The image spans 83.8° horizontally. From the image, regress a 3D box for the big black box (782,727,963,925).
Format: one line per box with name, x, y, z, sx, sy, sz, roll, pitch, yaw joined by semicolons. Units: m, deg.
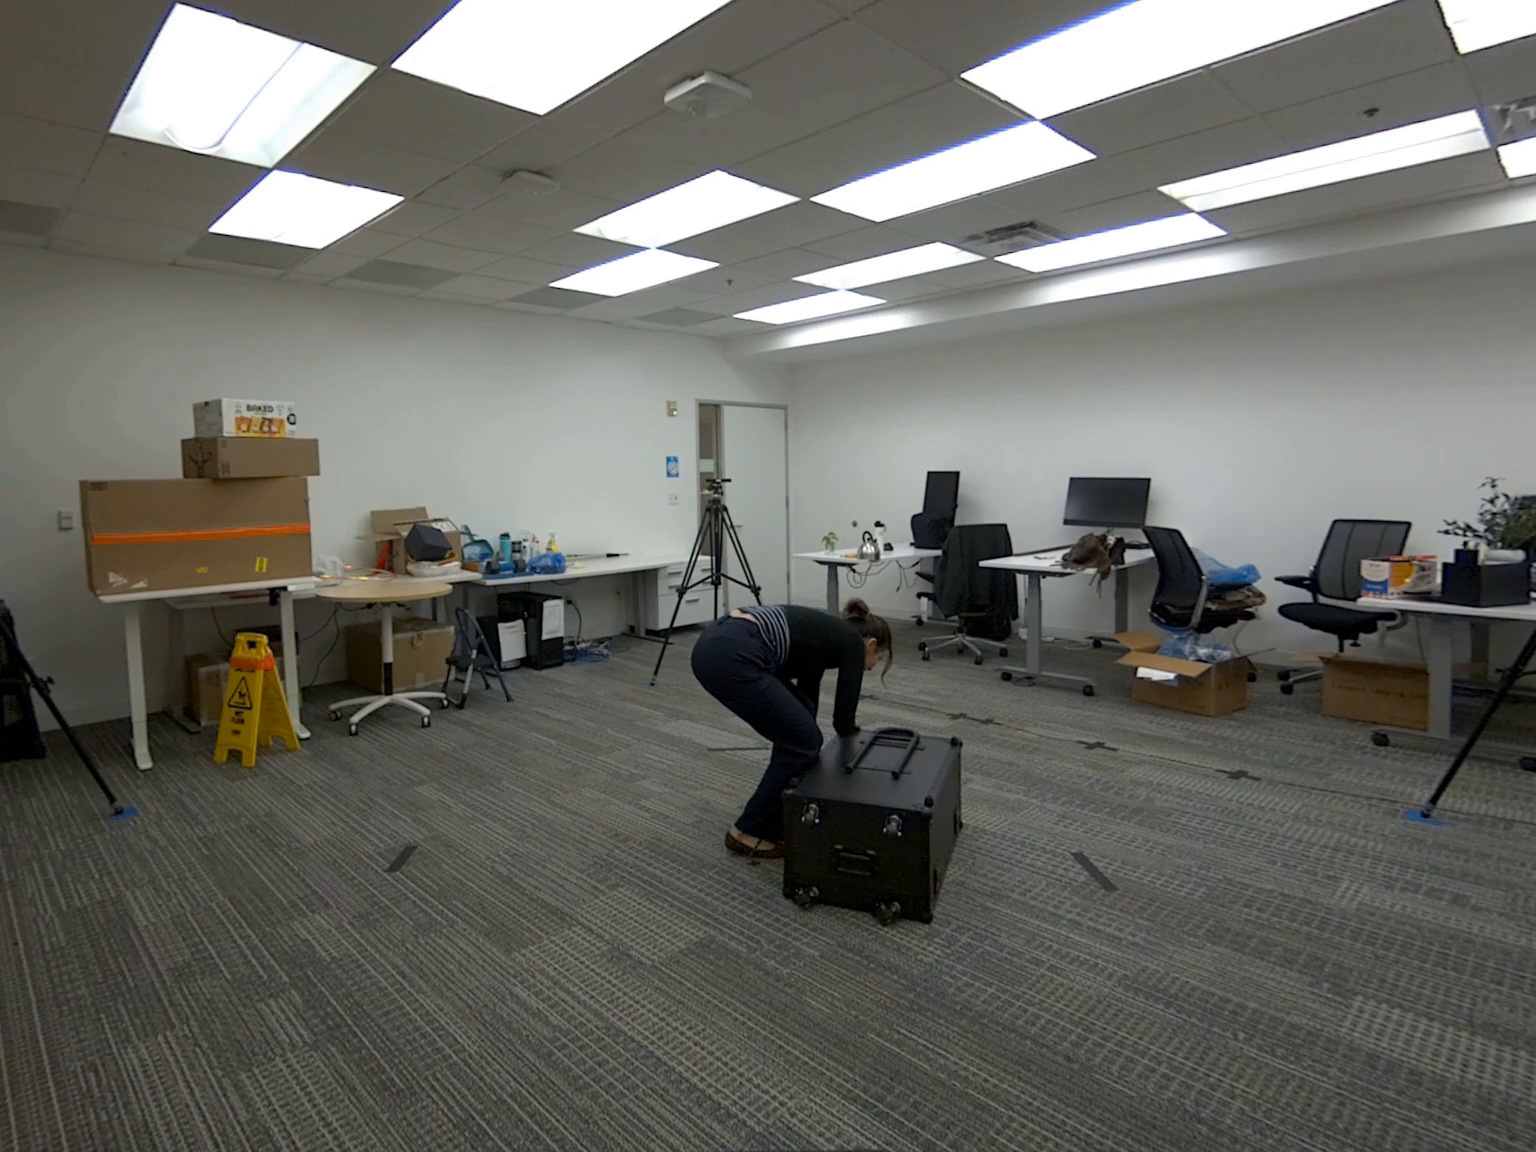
big black box;0.397;0.840;3.053;0.532;0.394;0.849;1;8;20
